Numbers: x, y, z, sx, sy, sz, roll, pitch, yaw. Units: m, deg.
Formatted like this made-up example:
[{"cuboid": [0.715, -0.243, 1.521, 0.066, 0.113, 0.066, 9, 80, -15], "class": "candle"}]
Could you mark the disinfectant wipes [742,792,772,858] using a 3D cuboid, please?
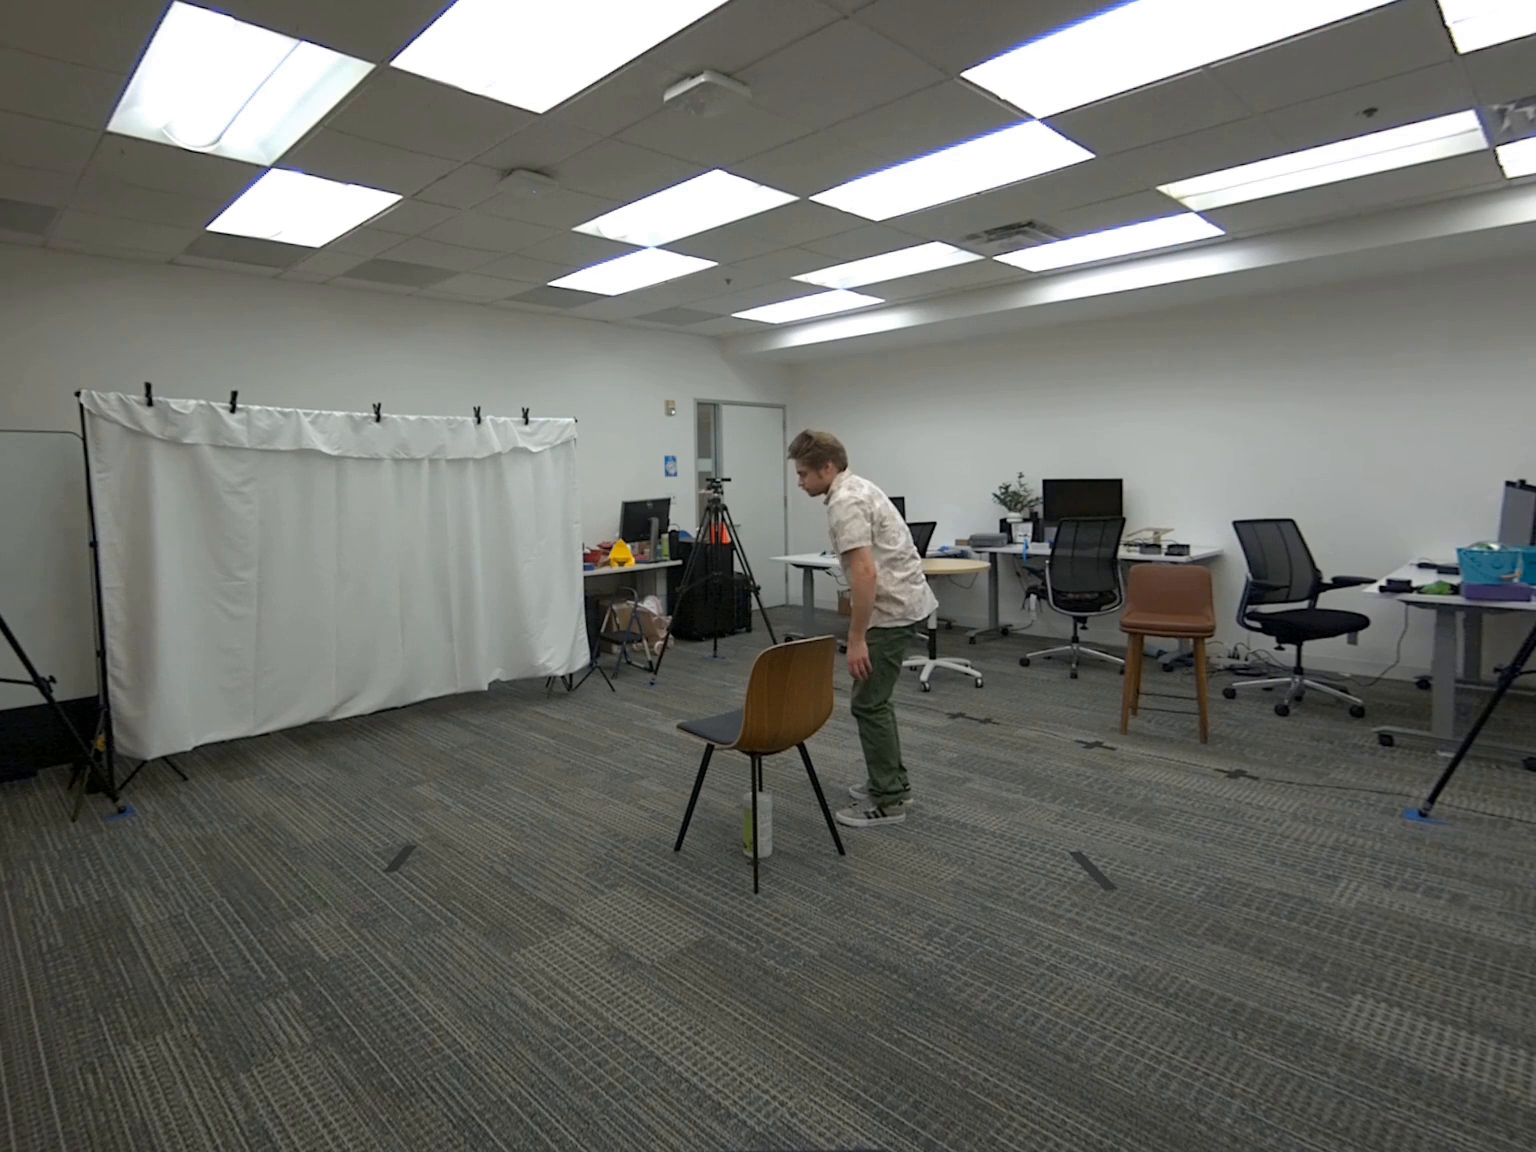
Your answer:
[{"cuboid": [-0.031, 0.937, 3.183, 0.118, 0.216, 0.118, -1, 6, -2], "class": "disinfectant wipes"}]
